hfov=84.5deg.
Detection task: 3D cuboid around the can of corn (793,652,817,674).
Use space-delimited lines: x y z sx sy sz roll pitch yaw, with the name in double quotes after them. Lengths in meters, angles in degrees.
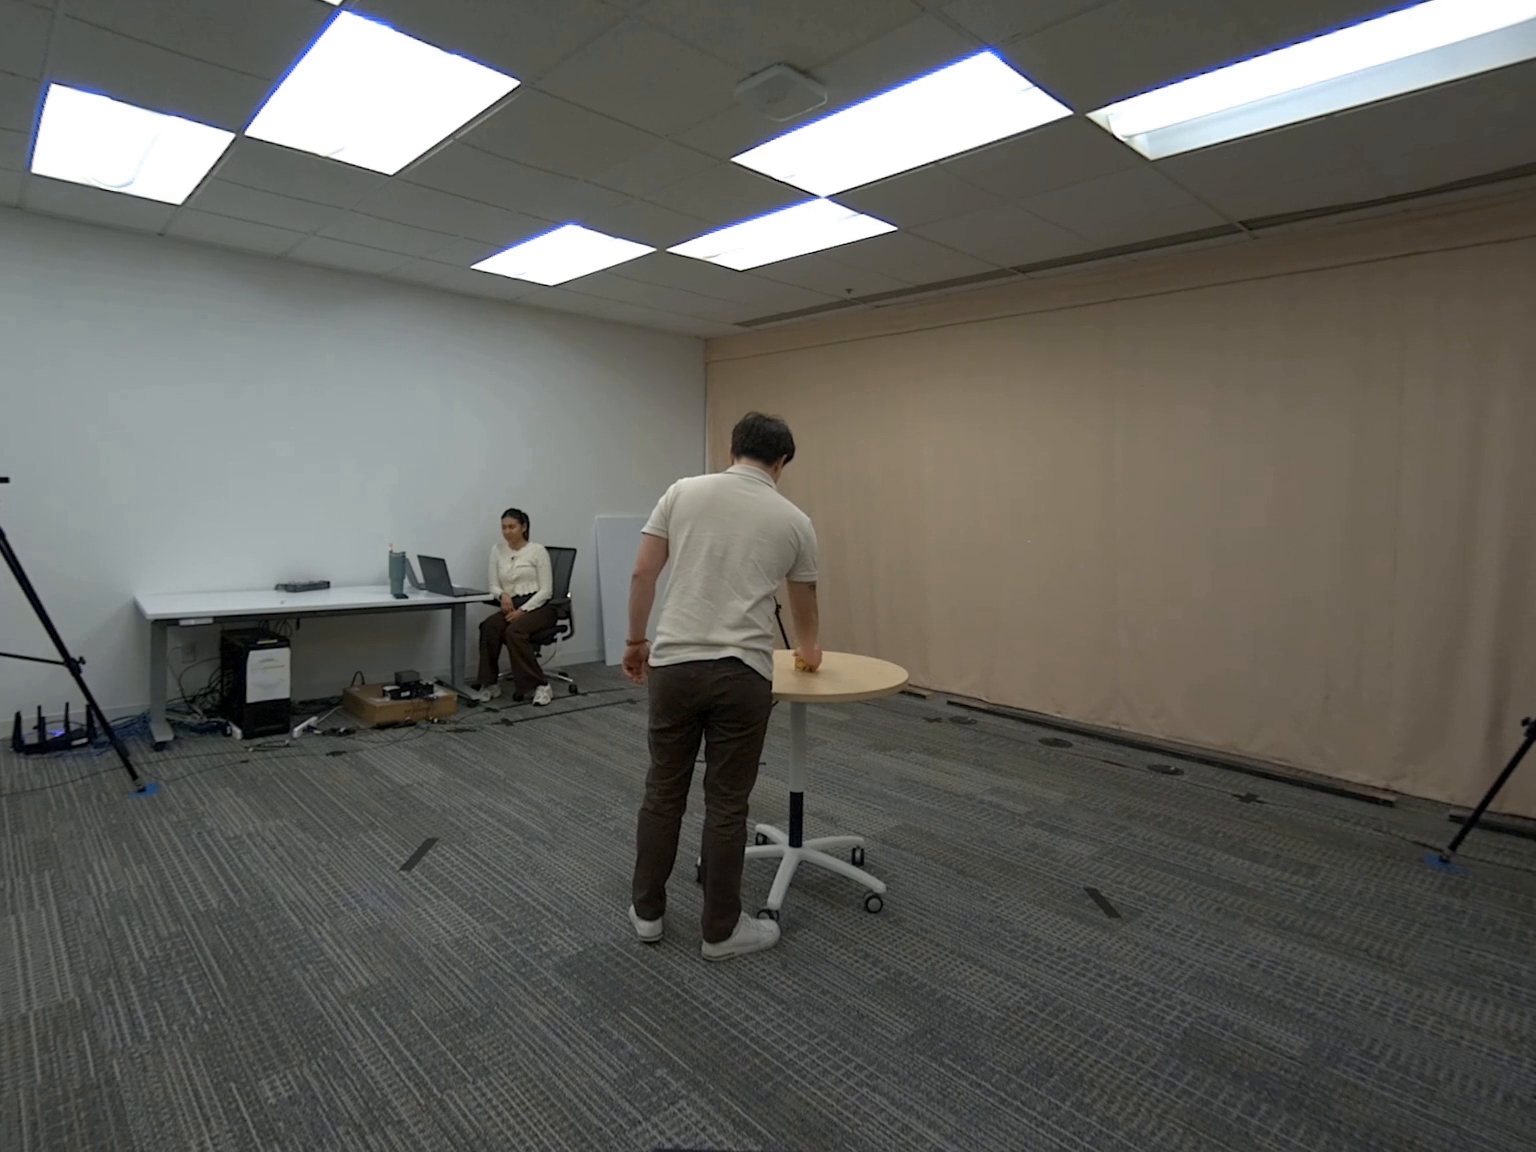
0.128 0.280 2.988 0.074 0.111 0.074 1 5 -1 "can of corn"
